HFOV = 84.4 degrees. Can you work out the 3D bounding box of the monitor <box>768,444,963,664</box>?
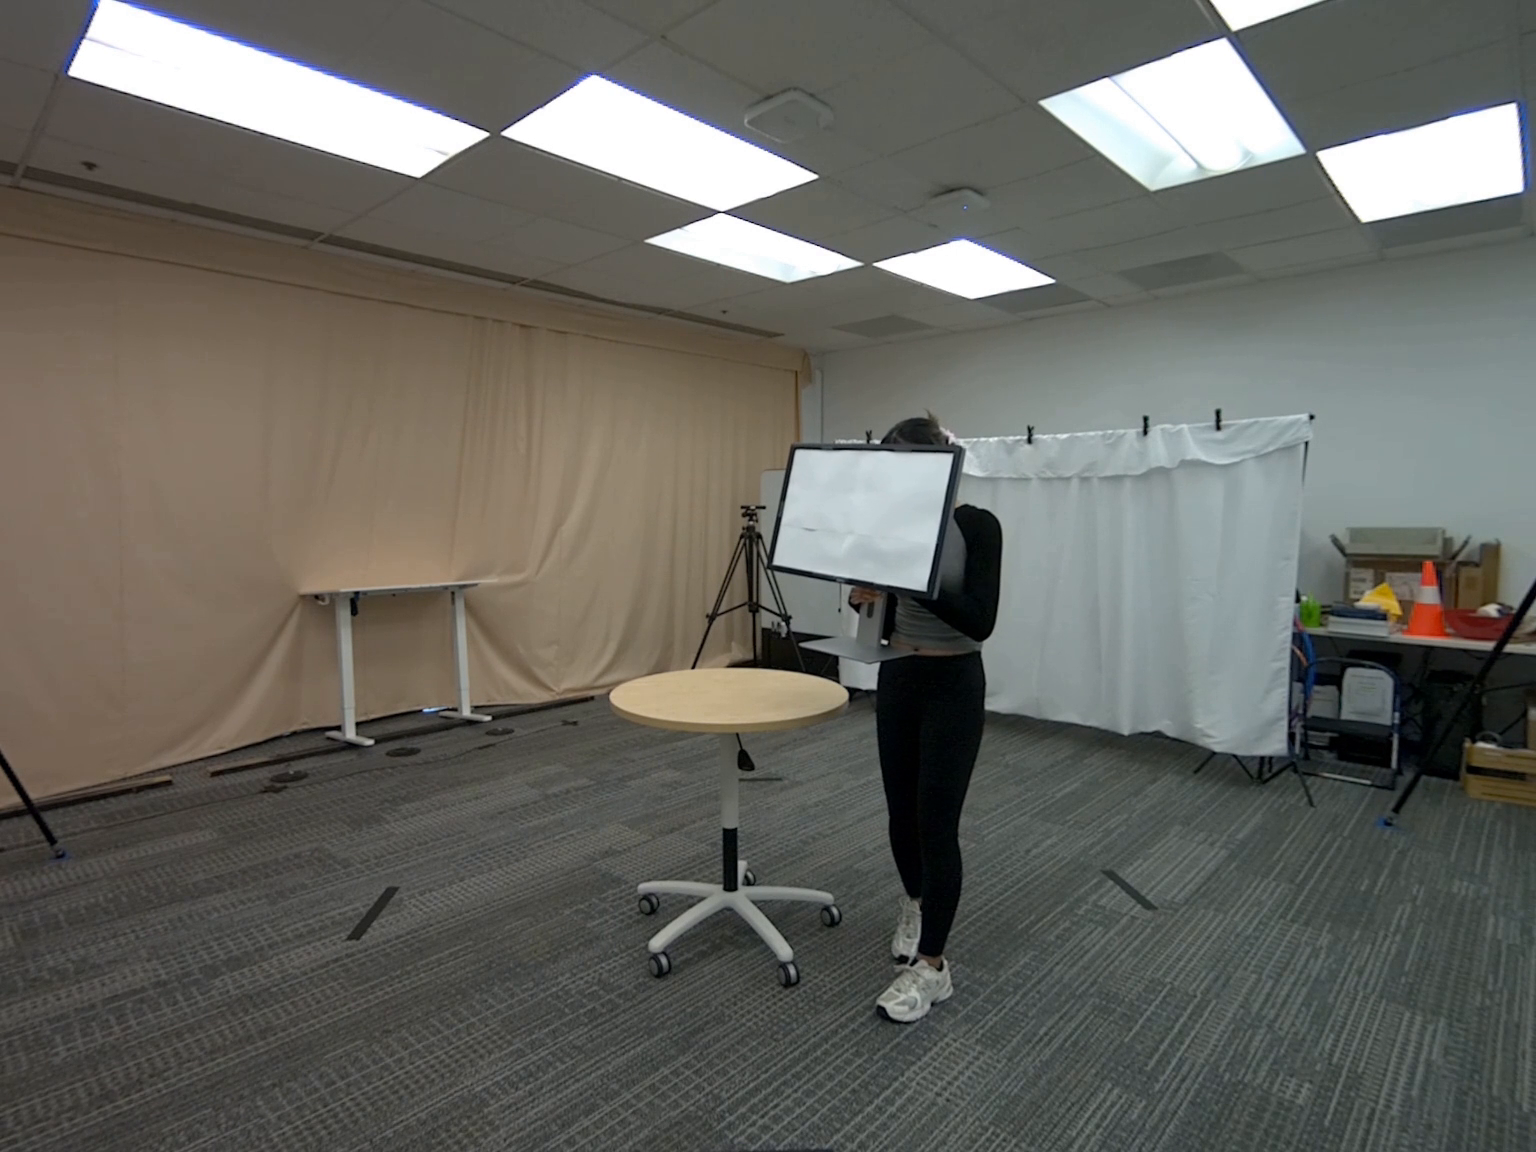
[{"bbox_3d":[0.252,-0.070,2.180,0.181,0.521,0.558,-3,8,-43],"label":"monitor"}]
